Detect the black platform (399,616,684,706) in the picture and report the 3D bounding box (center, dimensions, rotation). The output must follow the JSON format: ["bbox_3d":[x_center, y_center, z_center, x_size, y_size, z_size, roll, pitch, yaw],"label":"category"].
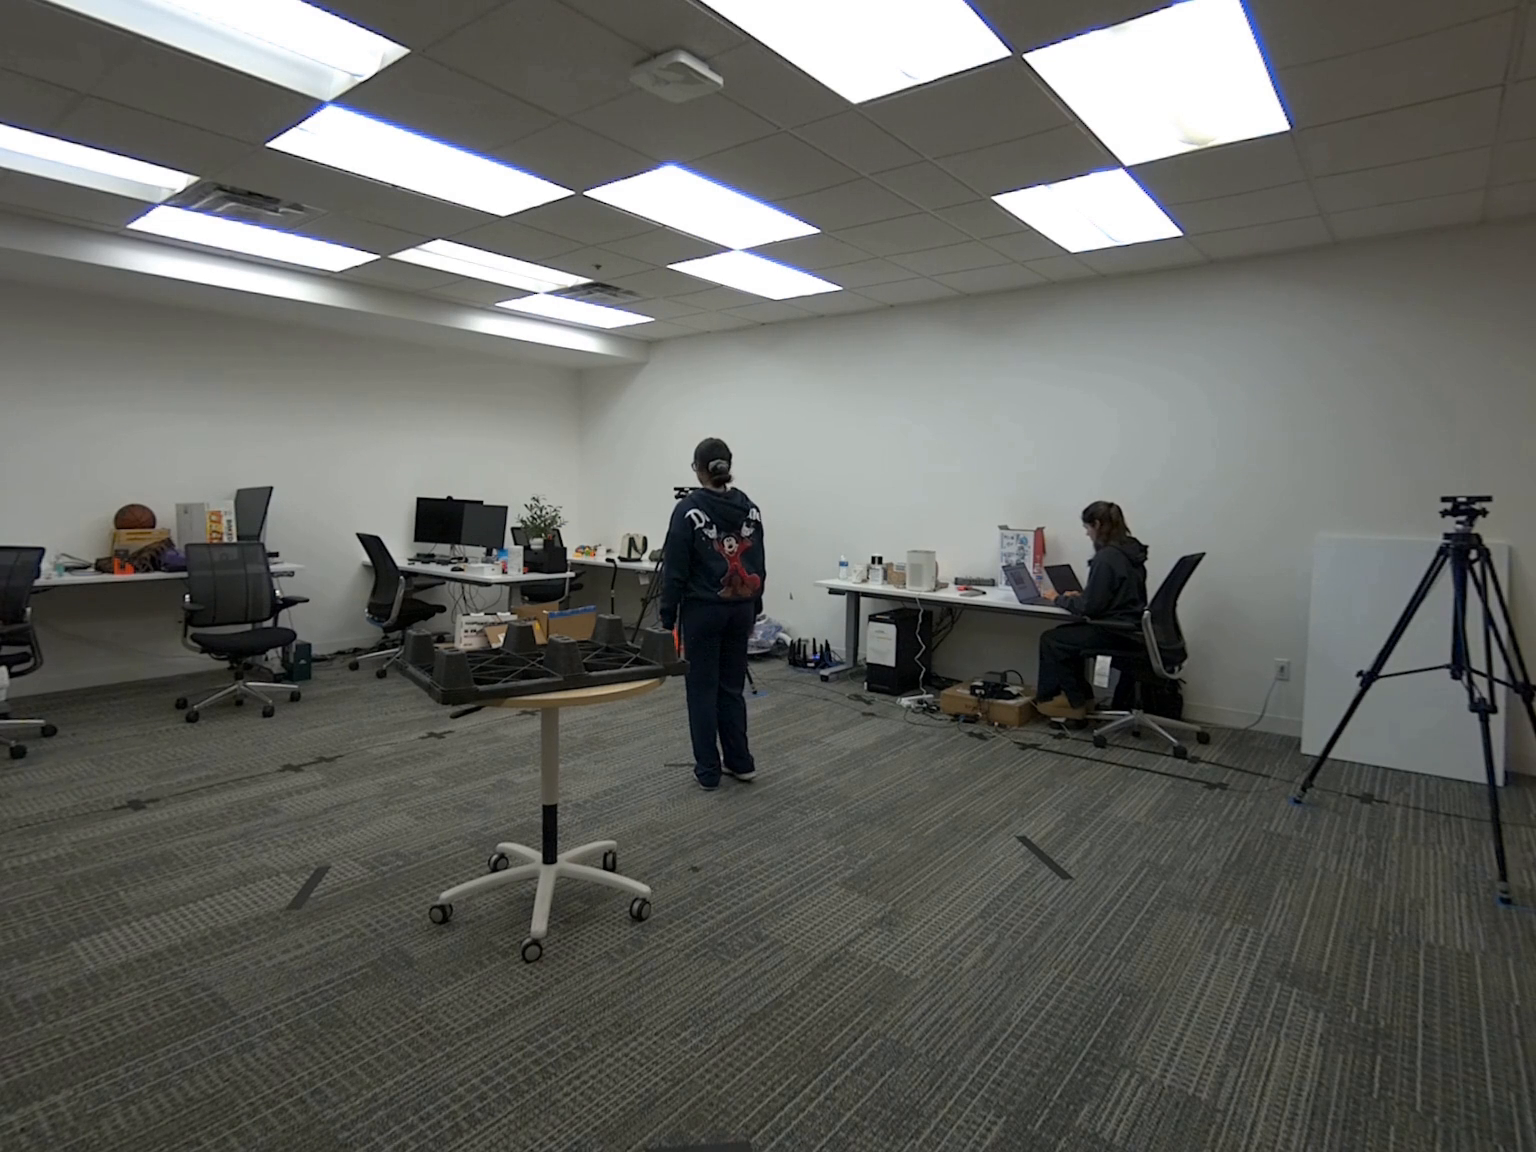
[{"bbox_3d":[-0.756,0.247,2.775,0.783,0.143,0.625,-3,6,-35],"label":"black platform"}]
